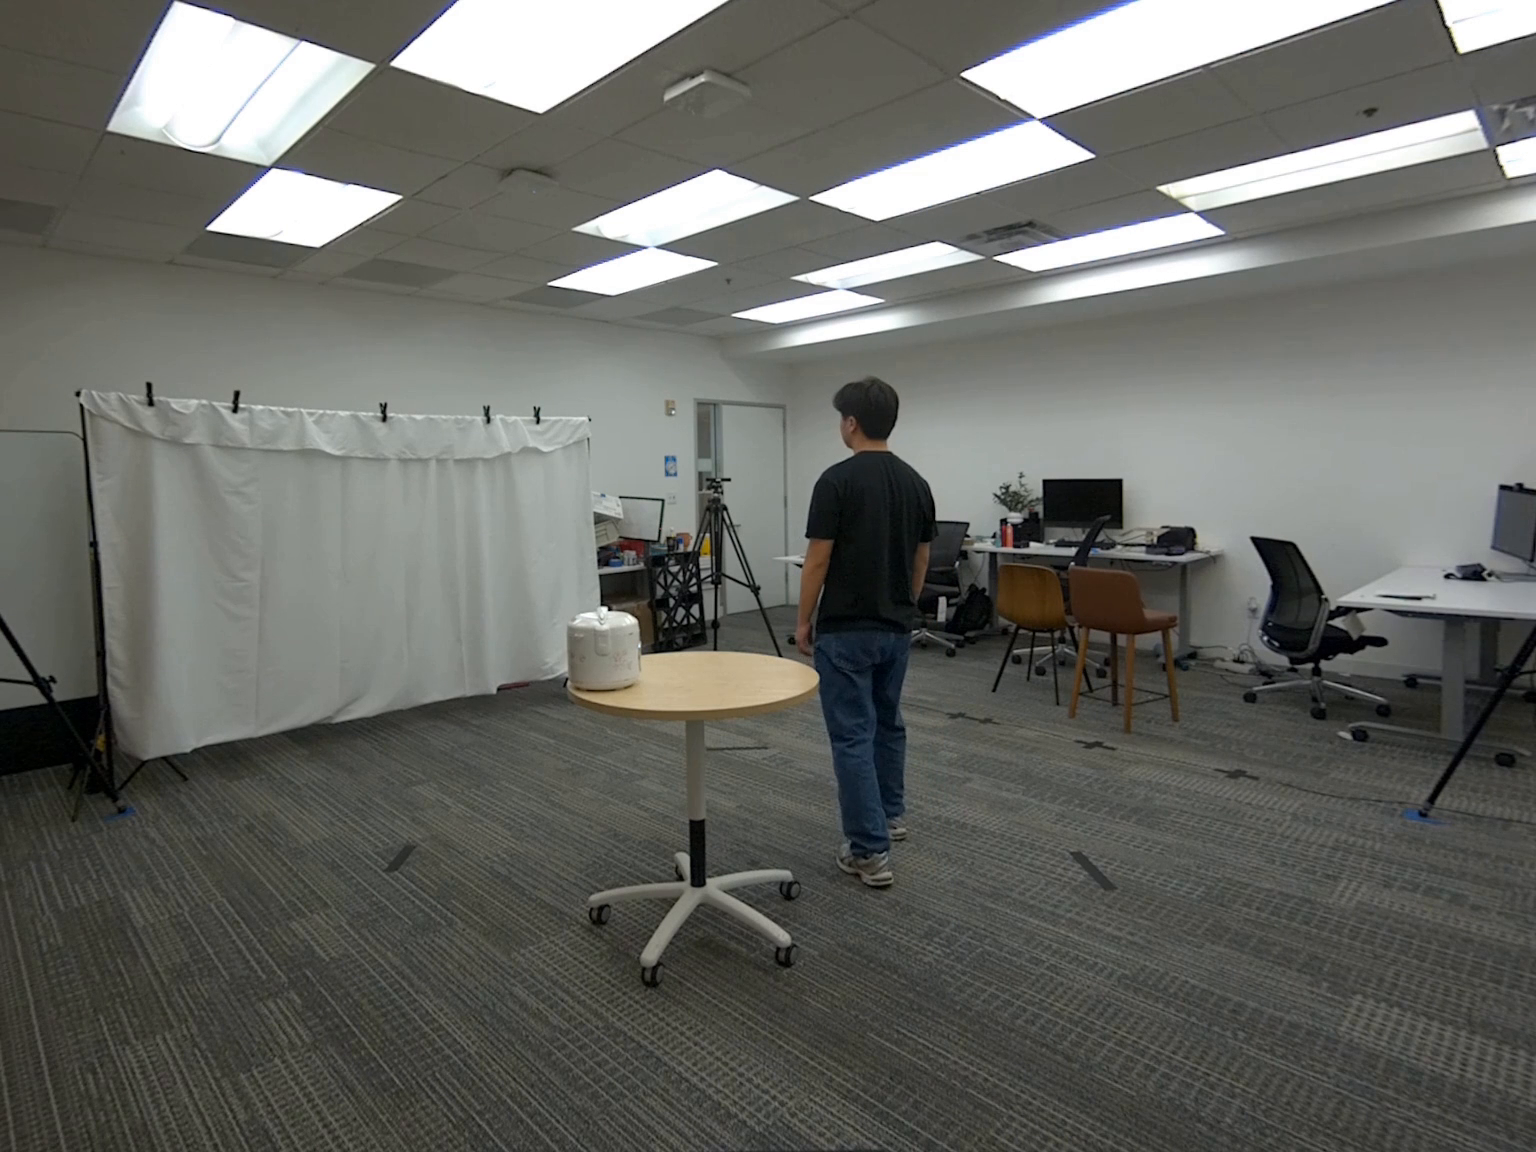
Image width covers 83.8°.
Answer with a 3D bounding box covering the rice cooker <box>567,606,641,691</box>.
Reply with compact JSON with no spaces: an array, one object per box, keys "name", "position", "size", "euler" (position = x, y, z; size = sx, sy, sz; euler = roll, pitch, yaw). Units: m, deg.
[{"name":"rice cooker","position":[-0.485,0.208,2.526],"size":[0.216,0.232,0.223],"euler":[-4,6,-8]}]
